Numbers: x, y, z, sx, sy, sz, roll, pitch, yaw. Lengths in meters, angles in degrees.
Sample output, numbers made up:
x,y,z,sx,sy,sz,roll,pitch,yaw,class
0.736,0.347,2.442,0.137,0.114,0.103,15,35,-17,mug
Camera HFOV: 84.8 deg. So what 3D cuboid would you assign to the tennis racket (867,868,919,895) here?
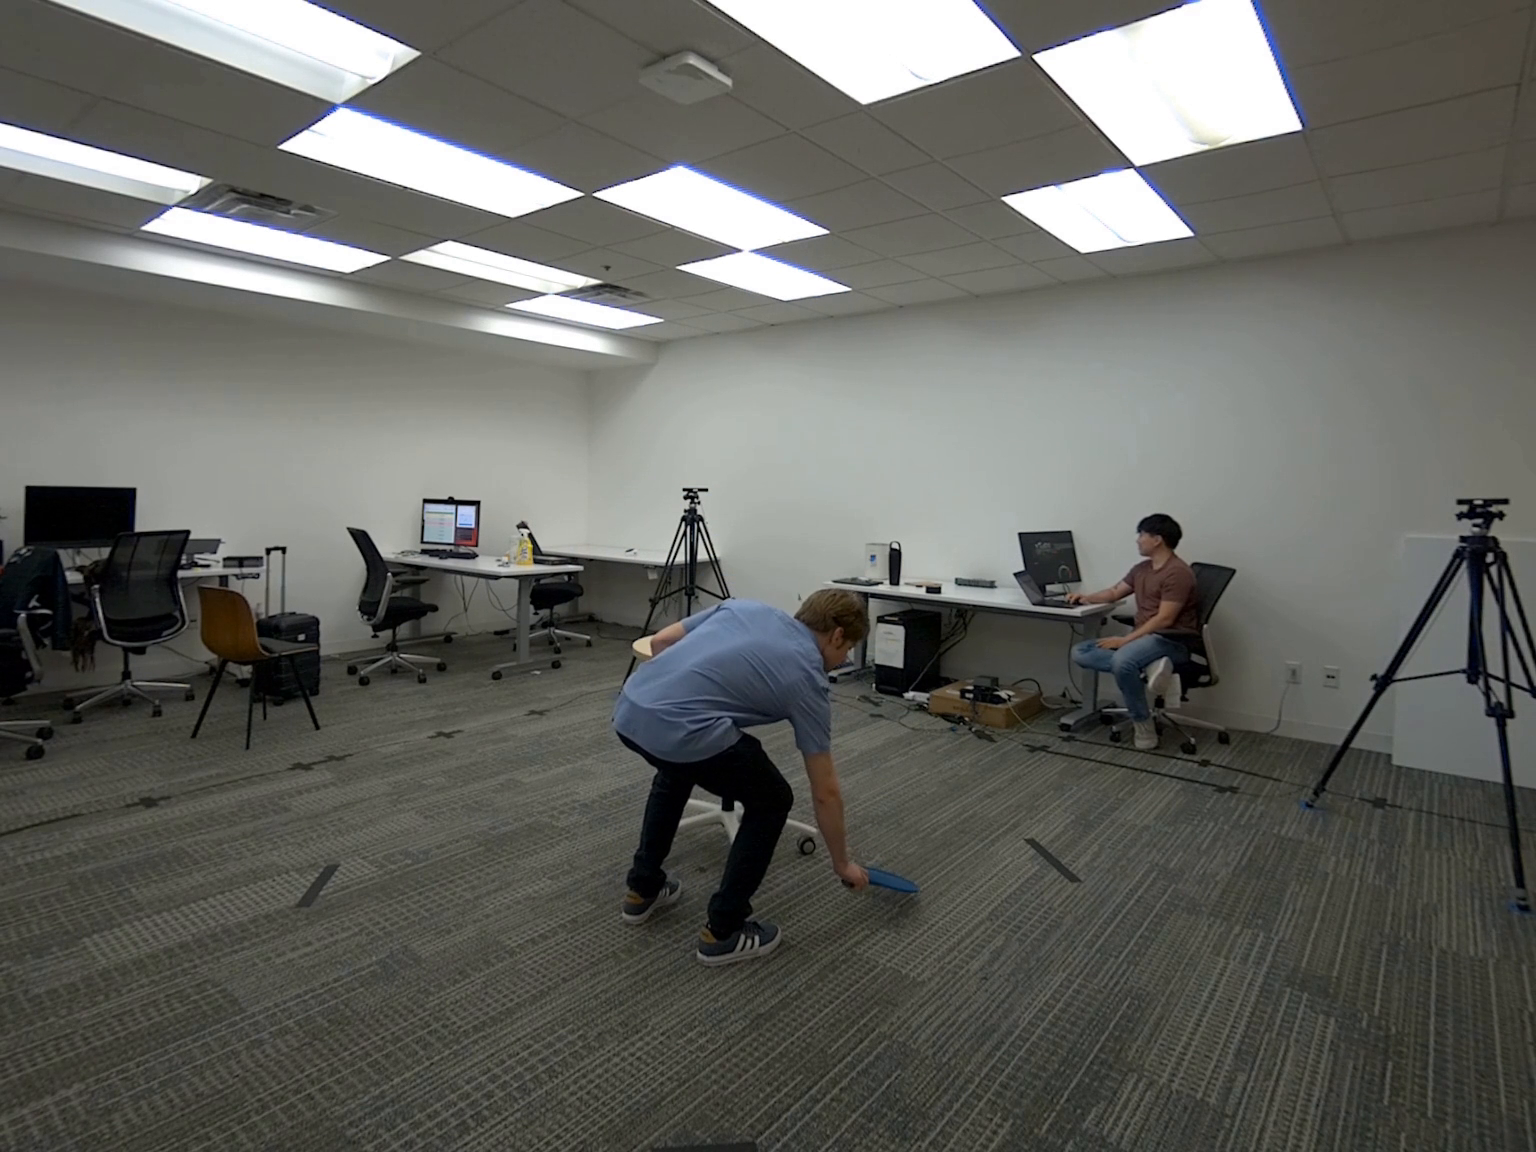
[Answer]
x,y,z,sx,sy,sz,roll,pitch,yaw,class
0.351,1.006,2.827,0.221,0.032,0.415,13,-8,39,tennis racket
